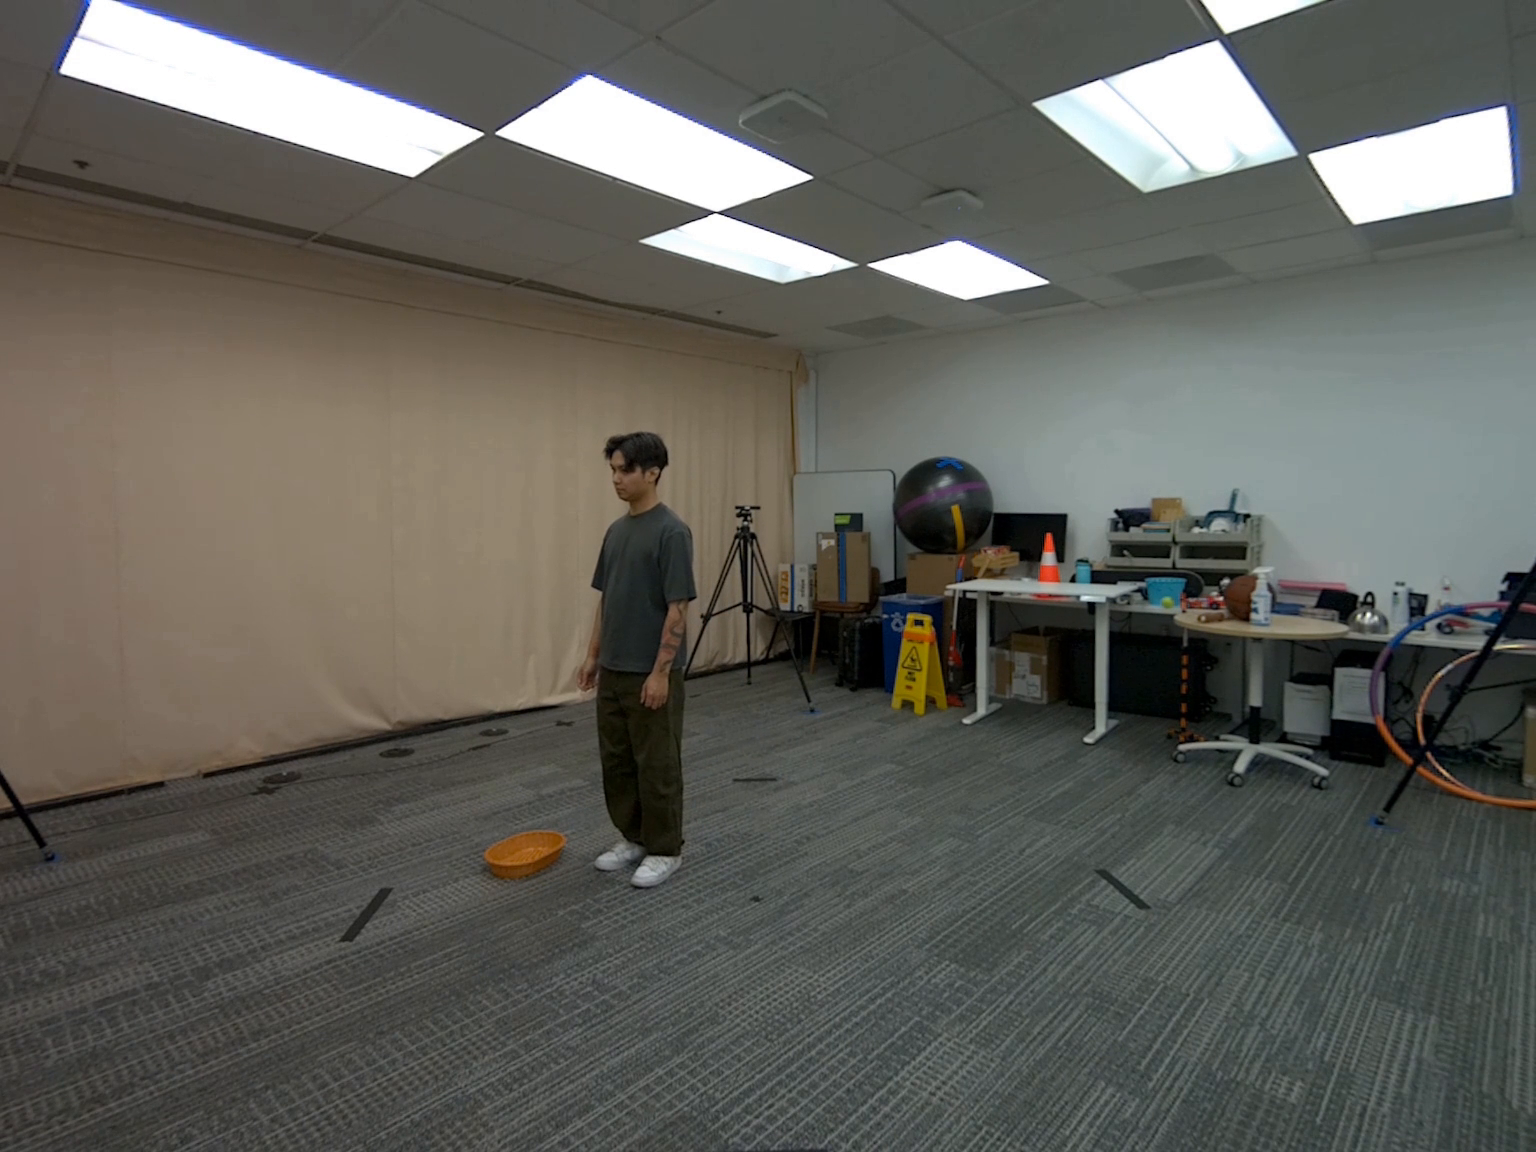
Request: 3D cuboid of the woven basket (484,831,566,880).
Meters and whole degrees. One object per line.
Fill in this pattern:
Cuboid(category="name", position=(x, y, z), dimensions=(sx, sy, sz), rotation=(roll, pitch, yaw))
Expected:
Cuboid(category="woven basket", position=(-0.950, 1.095, 3.298), dimensions=(0.260, 0.073, 0.341), rotation=(2, 5, 32))
